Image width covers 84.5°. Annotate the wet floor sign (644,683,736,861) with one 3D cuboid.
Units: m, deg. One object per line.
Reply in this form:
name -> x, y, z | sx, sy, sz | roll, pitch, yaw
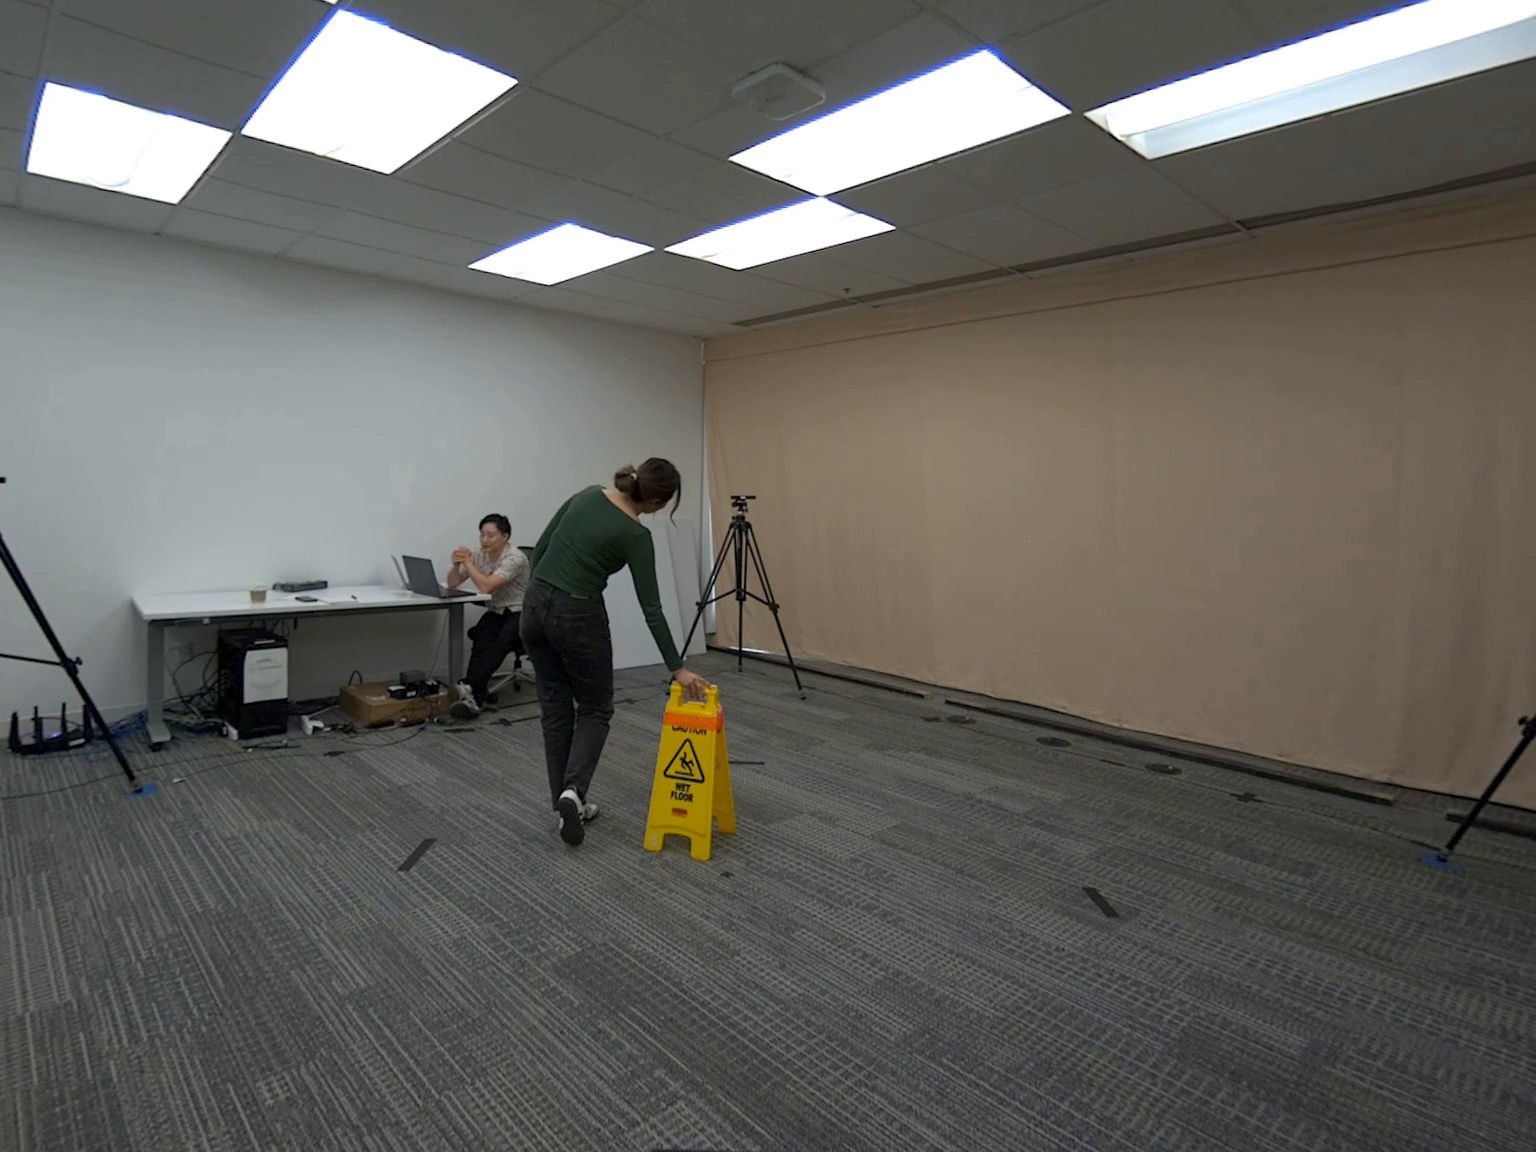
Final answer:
wet floor sign -> -0.312, 0.751, 3.384 | 0.287, 0.644, 0.286 | 1, 3, 20
